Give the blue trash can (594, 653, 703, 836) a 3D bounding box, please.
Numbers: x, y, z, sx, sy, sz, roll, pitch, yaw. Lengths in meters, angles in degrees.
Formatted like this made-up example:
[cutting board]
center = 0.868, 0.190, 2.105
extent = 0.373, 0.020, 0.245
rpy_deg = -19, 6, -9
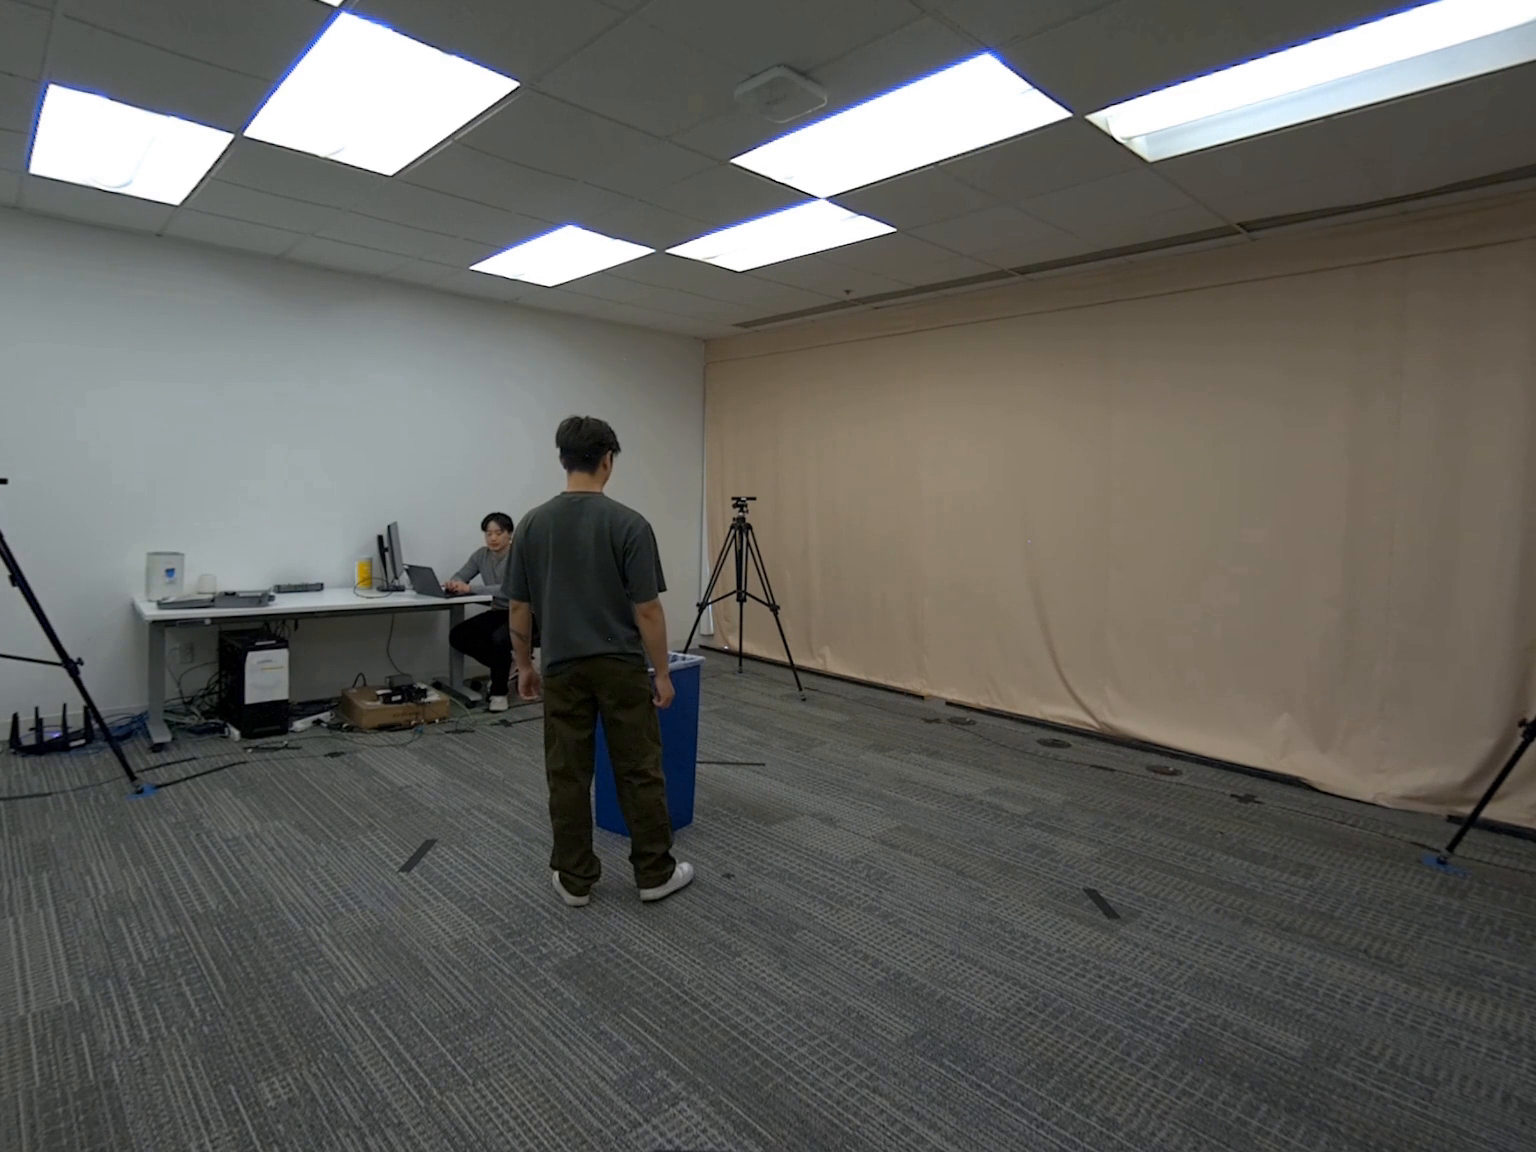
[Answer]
[blue trash can]
center = -0.518, 0.700, 3.567
extent = 0.383, 0.712, 0.370
rpy_deg = 2, 3, 34
